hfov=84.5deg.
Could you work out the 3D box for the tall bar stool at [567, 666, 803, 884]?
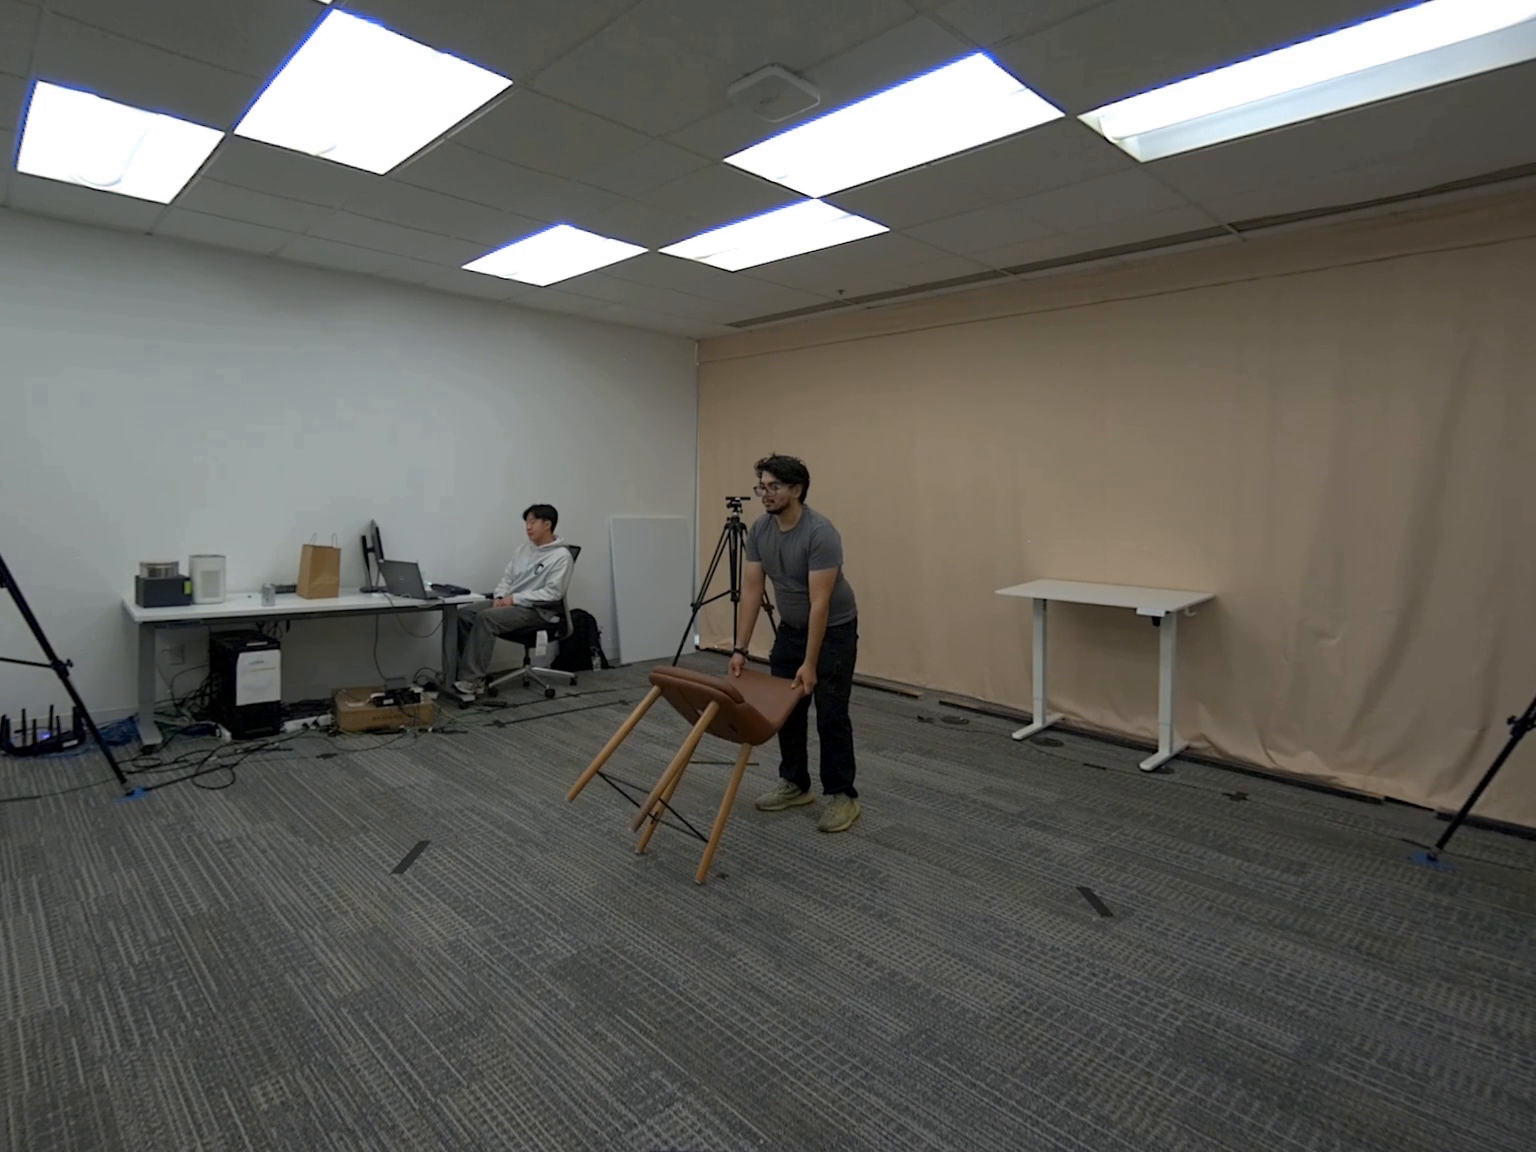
[{"bbox_3d":[-0.282,0.626,3.225,0.468,0.893,0.454,4,-38,44],"label":"tall bar stool"}]
